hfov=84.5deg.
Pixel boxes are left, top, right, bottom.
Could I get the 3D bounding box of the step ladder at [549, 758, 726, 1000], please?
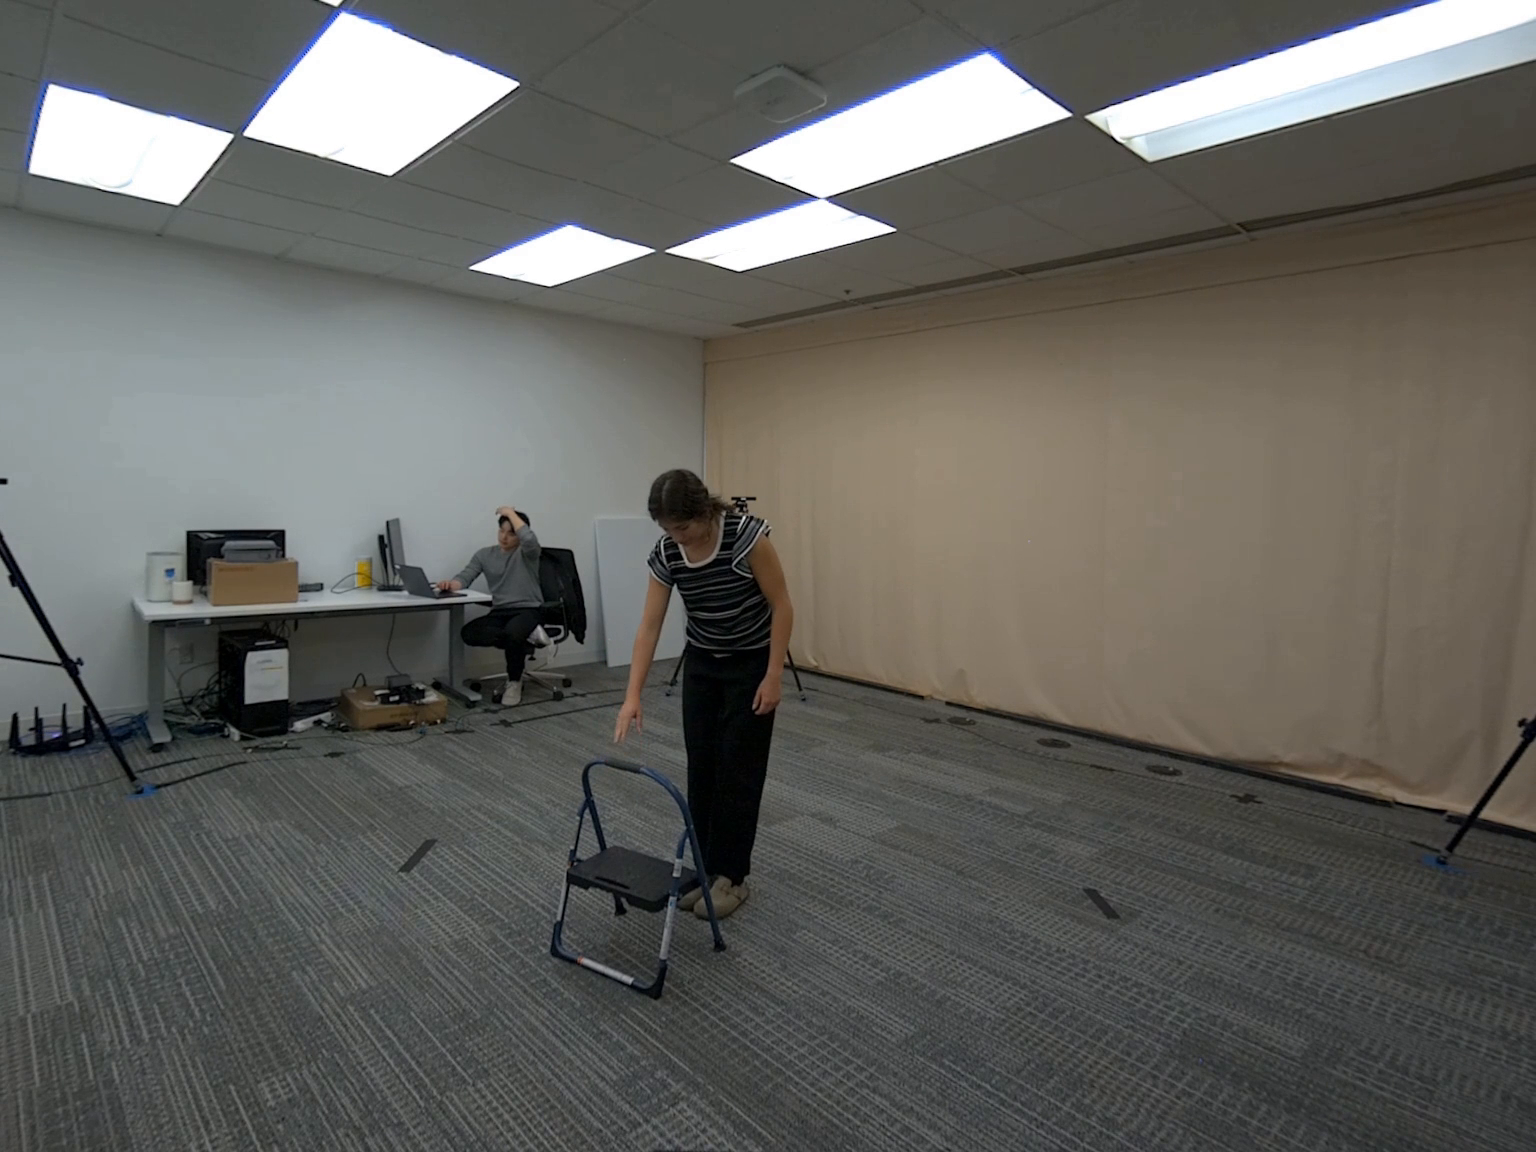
[{"bbox_3d":[-0.400,0.851,2.559,0.440,0.605,0.342,3,3,31],"label":"step ladder"}]
